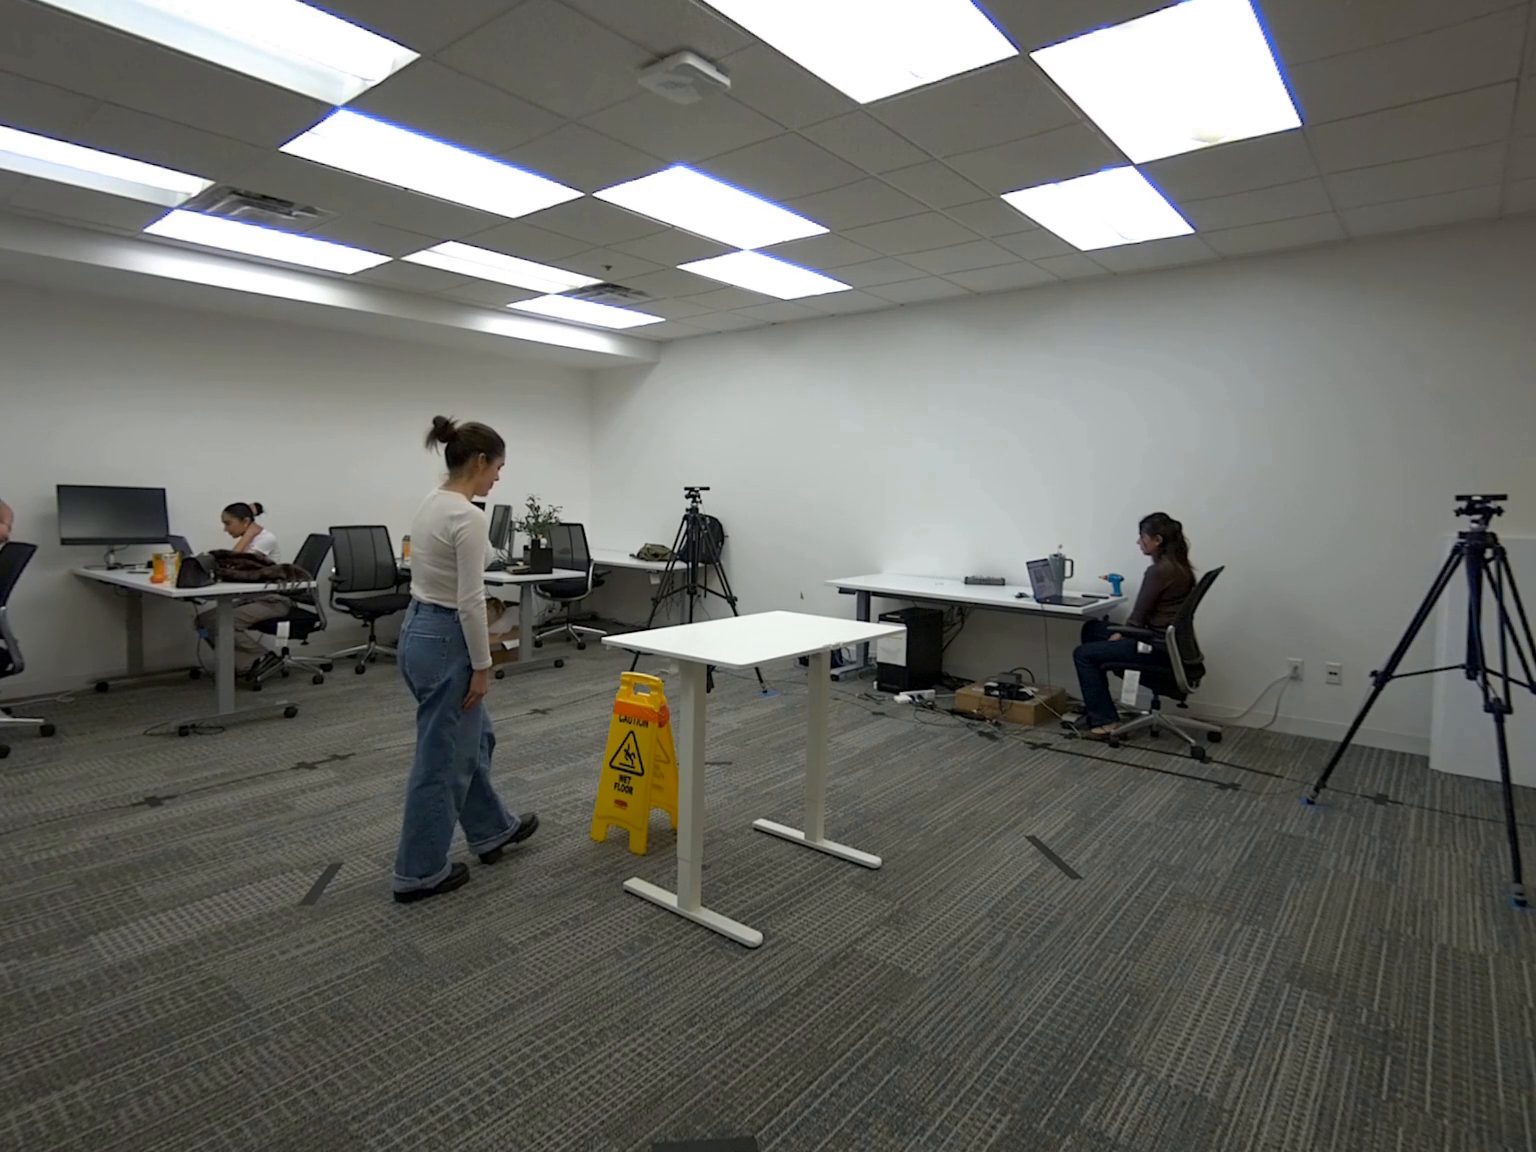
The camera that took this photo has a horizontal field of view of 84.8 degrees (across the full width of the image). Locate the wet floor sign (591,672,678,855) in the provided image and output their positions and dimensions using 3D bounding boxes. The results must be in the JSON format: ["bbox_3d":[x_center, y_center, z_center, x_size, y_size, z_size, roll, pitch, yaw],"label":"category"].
[{"bbox_3d":[-0.523,0.712,3.388,0.291,0.644,0.282,2,3,33],"label":"wet floor sign"}]
